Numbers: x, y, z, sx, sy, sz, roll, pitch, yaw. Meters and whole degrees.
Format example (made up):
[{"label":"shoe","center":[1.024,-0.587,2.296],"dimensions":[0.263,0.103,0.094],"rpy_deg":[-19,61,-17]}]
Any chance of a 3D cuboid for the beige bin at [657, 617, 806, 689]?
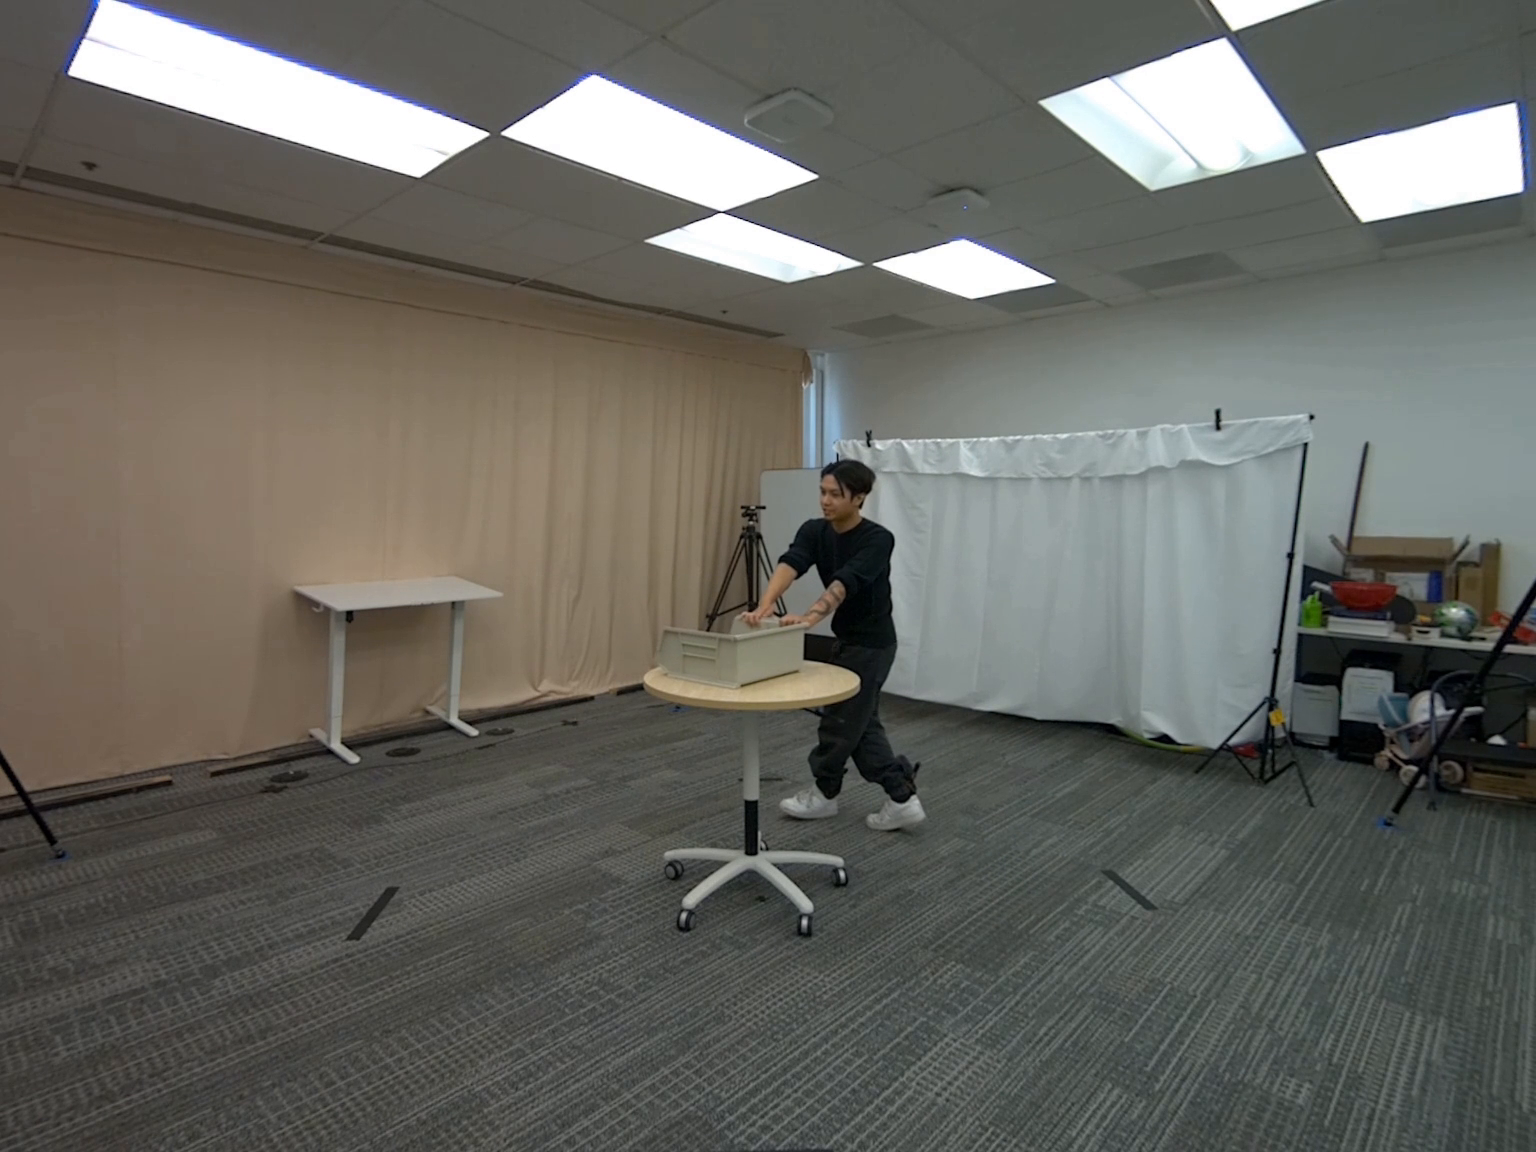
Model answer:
[{"label":"beige bin","center":[-0.128,0.262,3.057],"dimensions":[0.390,0.188,0.409],"rpy_deg":[6,6,39]}]
